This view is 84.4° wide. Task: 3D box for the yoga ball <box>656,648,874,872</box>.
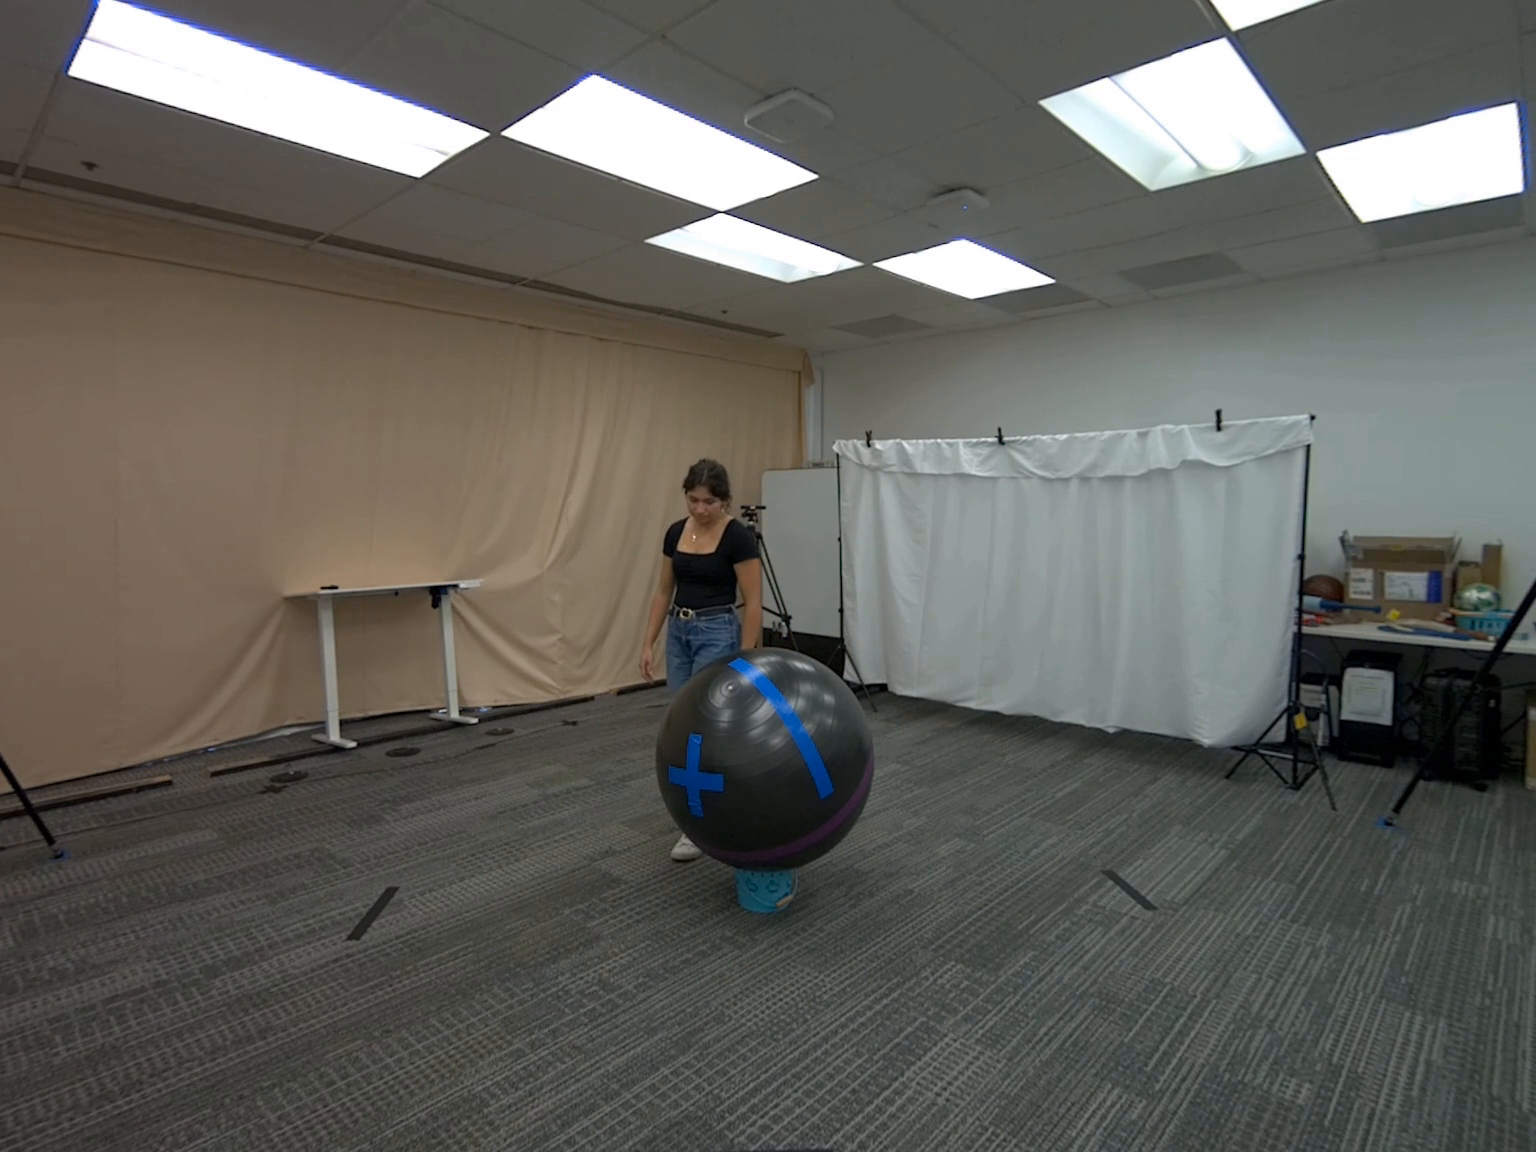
[{"bbox_3d":[-0.011,0.634,2.949,0.757,0.756,0.760,0,4,-2],"label":"yoga ball"}]
